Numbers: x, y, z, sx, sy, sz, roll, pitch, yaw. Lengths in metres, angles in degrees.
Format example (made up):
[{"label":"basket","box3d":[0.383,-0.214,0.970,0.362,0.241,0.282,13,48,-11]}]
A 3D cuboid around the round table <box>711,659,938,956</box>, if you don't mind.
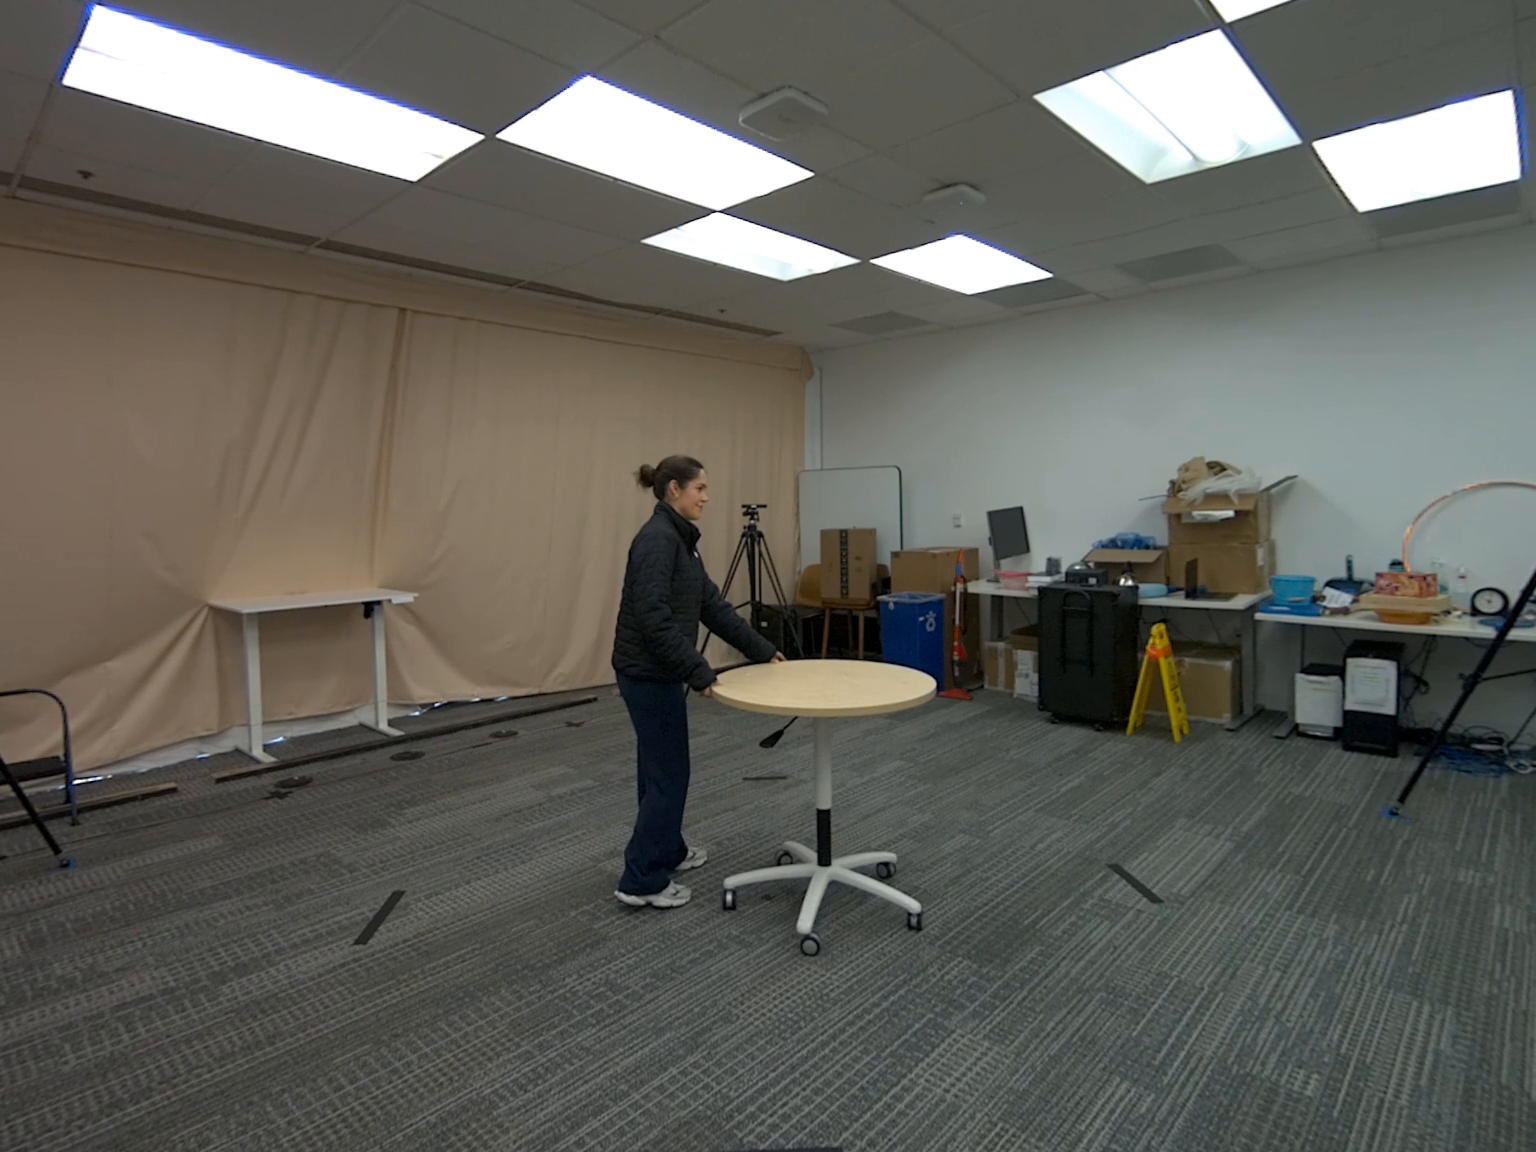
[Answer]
[{"label":"round table","box3d":[0.196,0.750,2.910,0.784,0.785,0.788,-1,4,-2]}]
